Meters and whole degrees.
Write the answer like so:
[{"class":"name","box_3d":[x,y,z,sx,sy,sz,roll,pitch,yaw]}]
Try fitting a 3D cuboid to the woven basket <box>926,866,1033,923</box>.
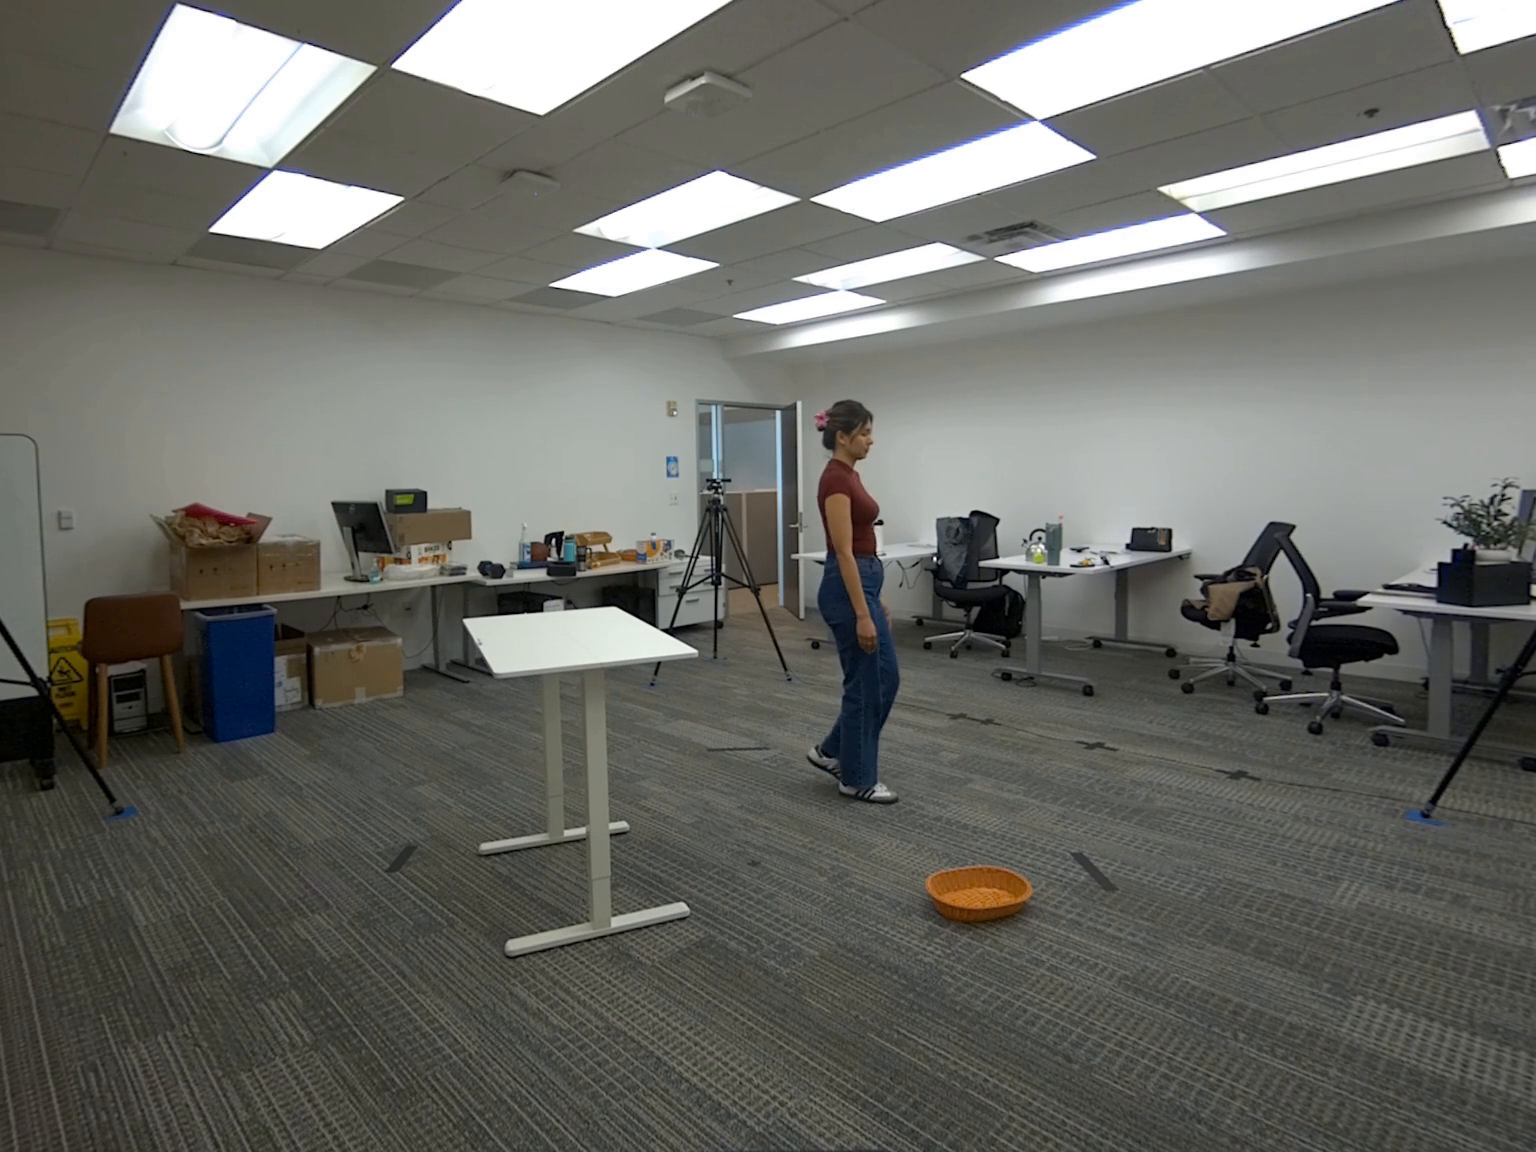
[{"class":"woven basket","box_3d":[0.681,1.038,2.765,0.345,0.073,0.257,-3,7,-17]}]
